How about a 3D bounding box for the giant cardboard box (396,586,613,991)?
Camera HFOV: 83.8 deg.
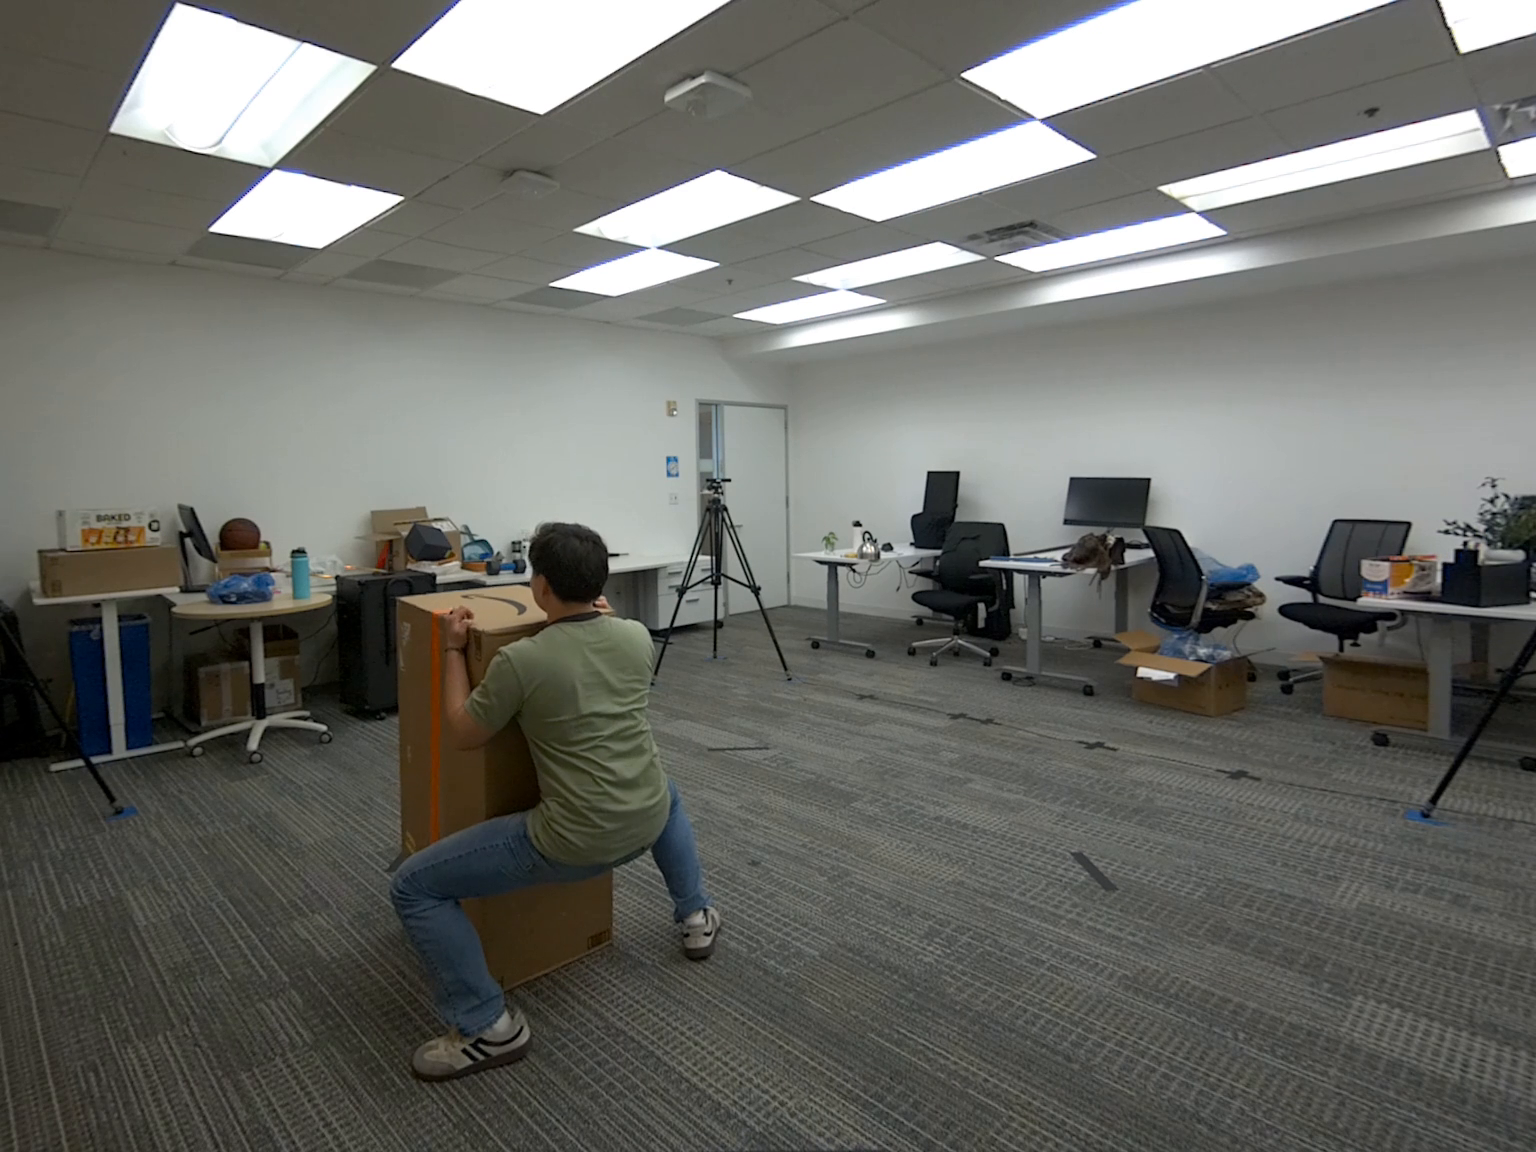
[{"bbox_3d":[-0.807,0.584,2.601,0.415,1.020,0.596,-5,9,-43],"label":"giant cardboard box"}]
